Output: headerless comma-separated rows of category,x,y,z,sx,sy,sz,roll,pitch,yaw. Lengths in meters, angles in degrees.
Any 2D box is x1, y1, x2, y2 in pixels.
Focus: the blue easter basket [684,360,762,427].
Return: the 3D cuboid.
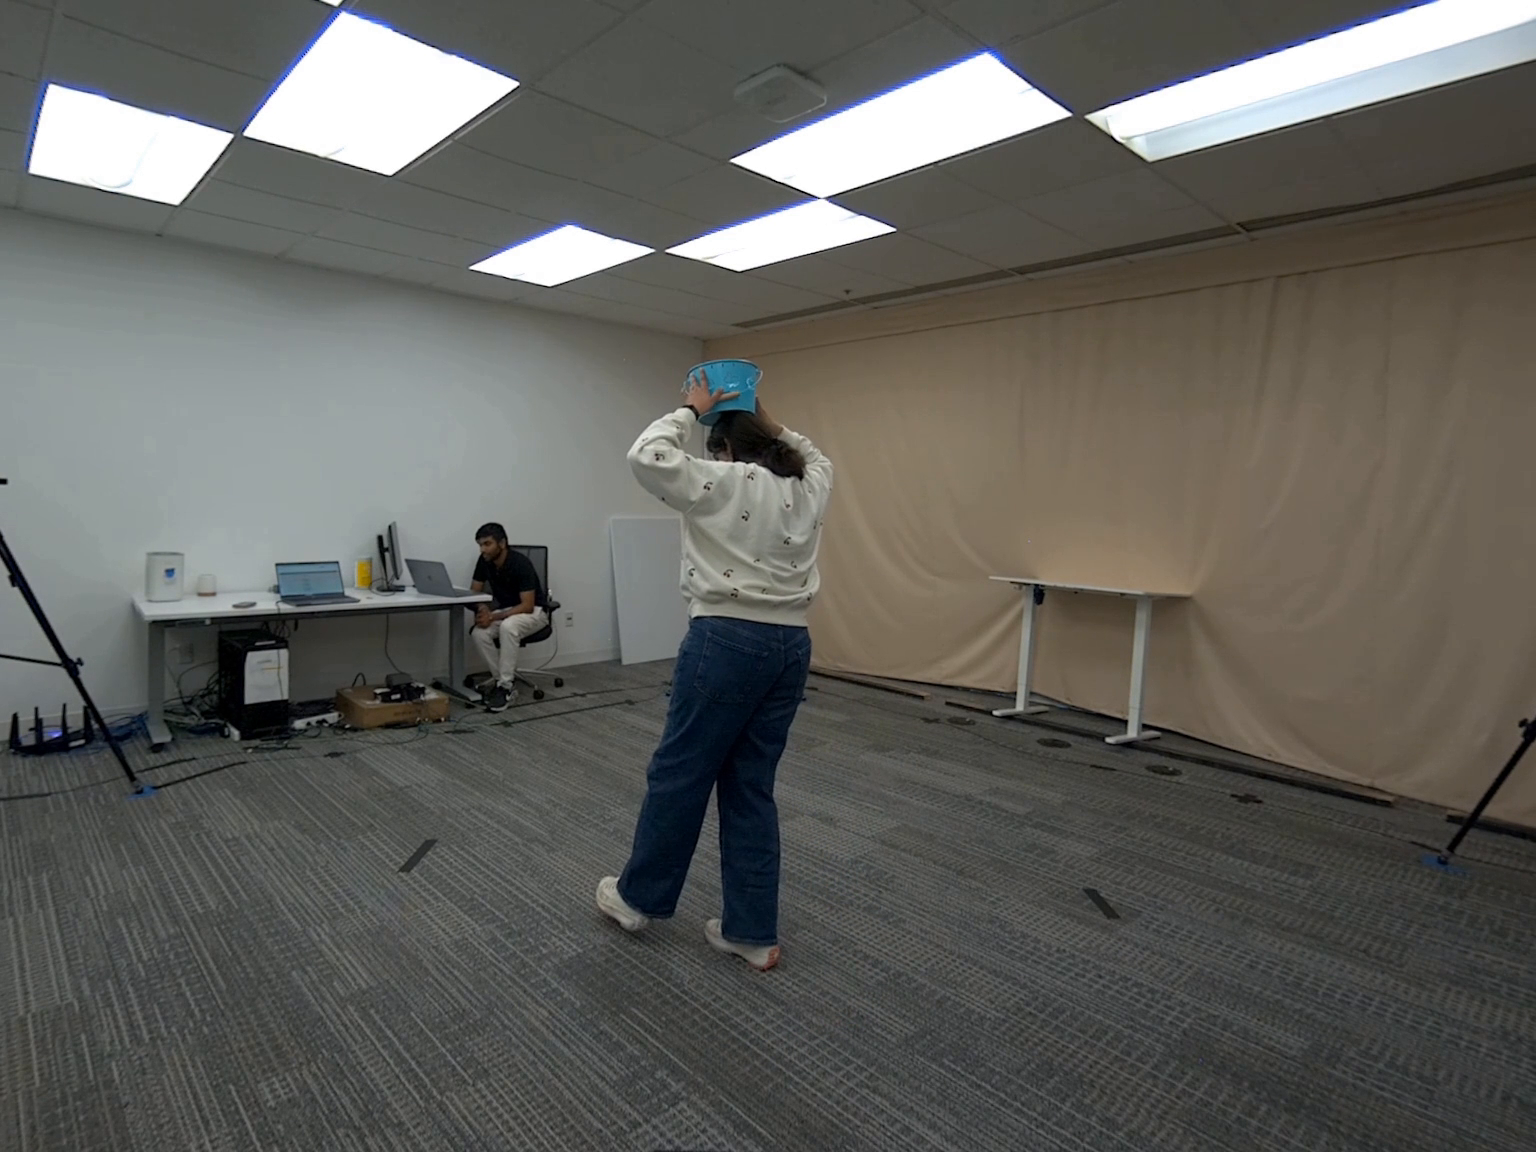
blue easter basket,-0.149,-0.572,2.662,0.243,0.157,0.242,-5,-9,-2
